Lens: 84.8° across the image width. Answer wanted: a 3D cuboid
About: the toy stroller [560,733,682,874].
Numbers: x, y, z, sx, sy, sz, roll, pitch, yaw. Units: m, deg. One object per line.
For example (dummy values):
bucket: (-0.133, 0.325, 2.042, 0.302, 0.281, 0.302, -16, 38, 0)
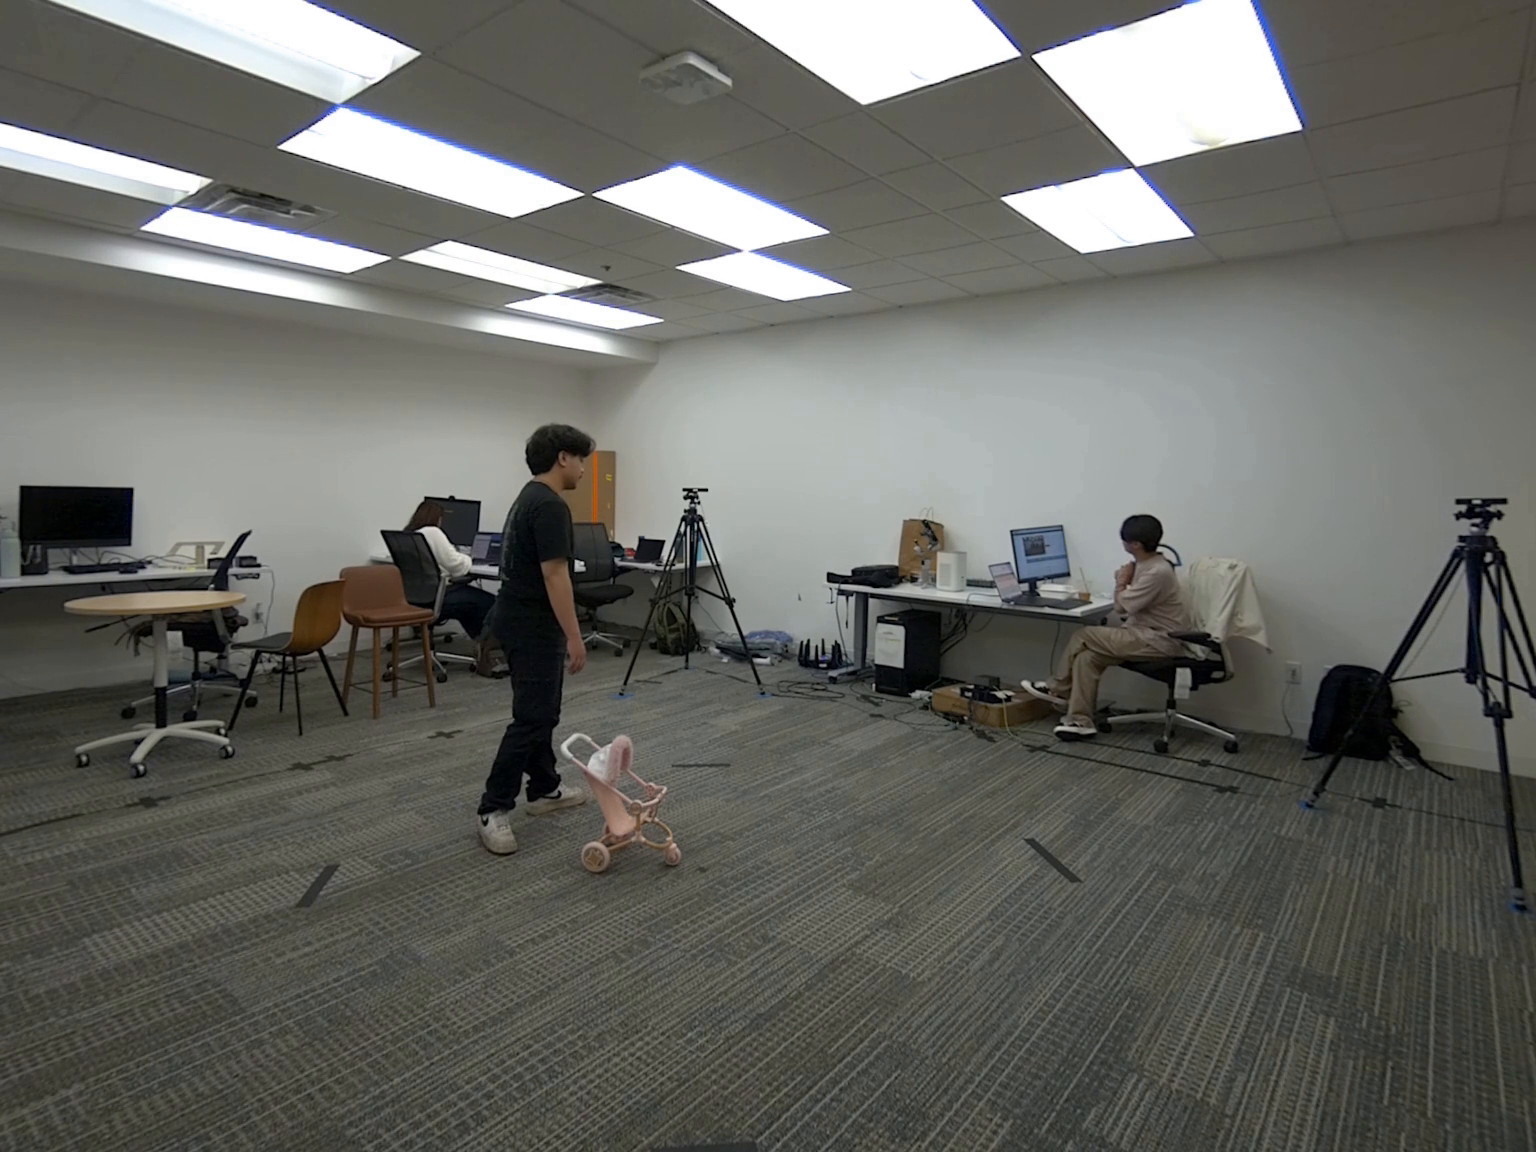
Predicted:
toy stroller: (-0.548, 0.834, 3.163, 0.346, 0.535, 0.278, -13, 0, 16)
